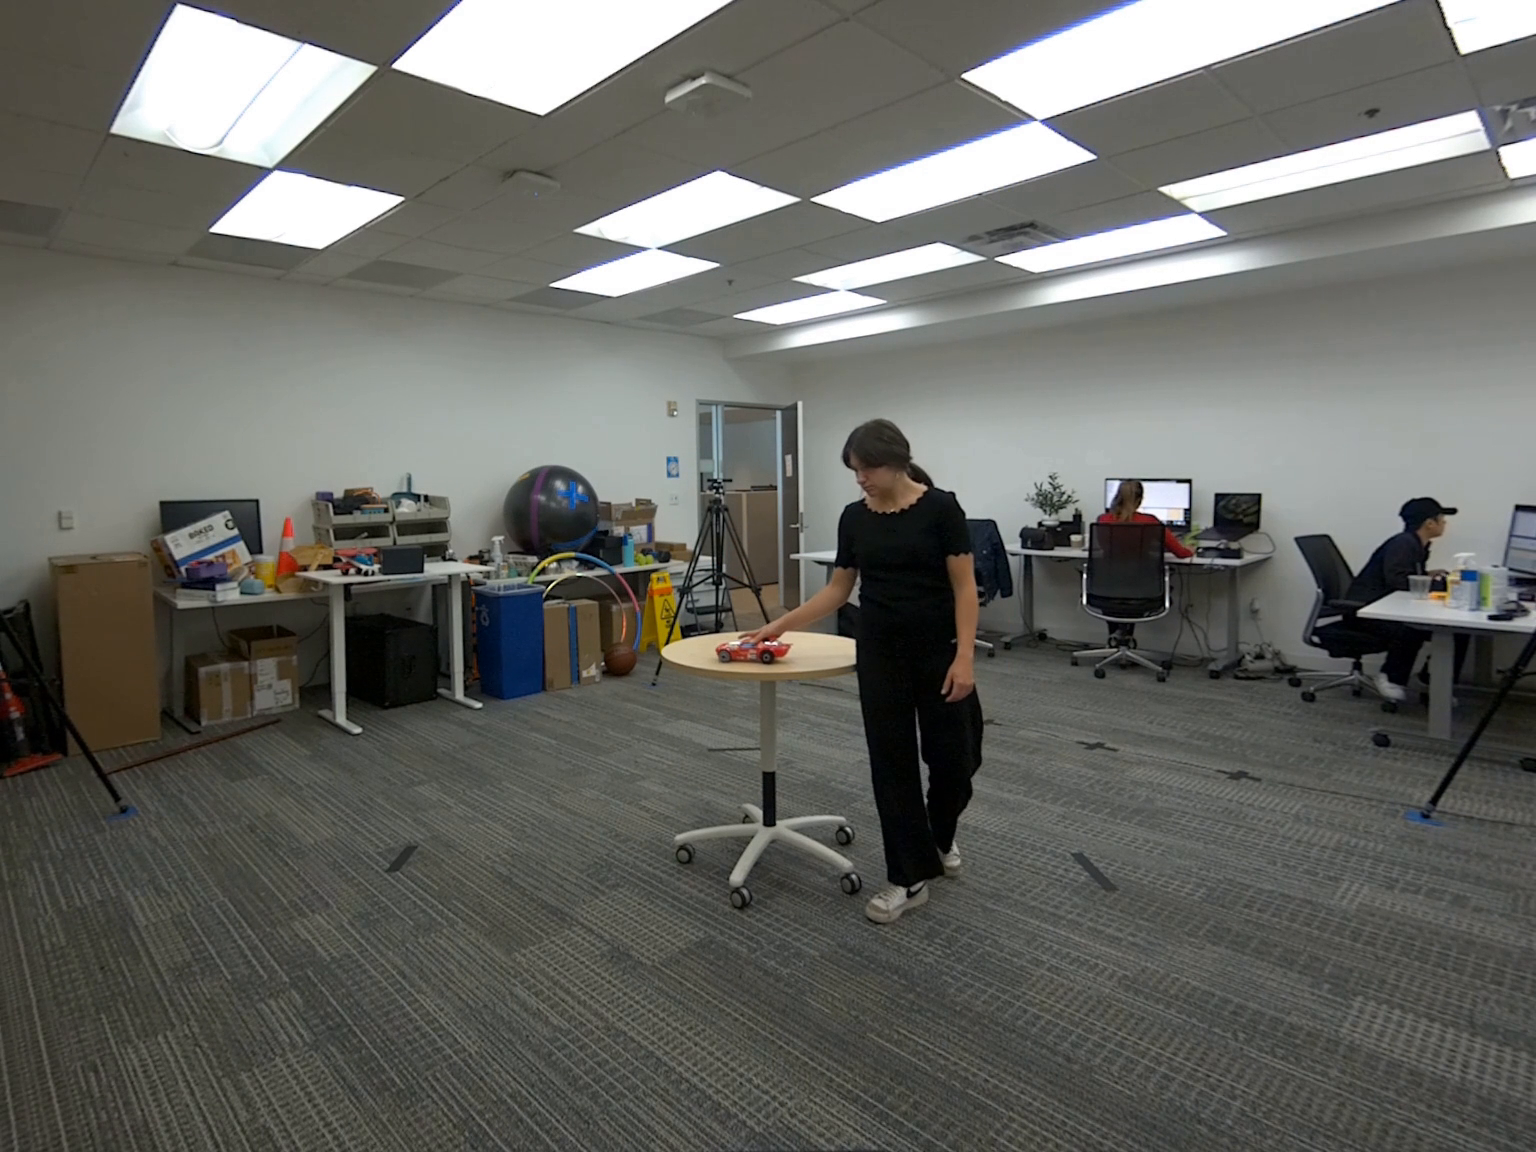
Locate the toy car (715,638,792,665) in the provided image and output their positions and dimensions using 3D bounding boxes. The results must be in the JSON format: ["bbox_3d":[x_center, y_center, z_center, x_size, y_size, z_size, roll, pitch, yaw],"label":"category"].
[{"bbox_3d":[-0.034,0.250,2.874,0.257,0.083,0.129,-13,1,14],"label":"toy car"}]
